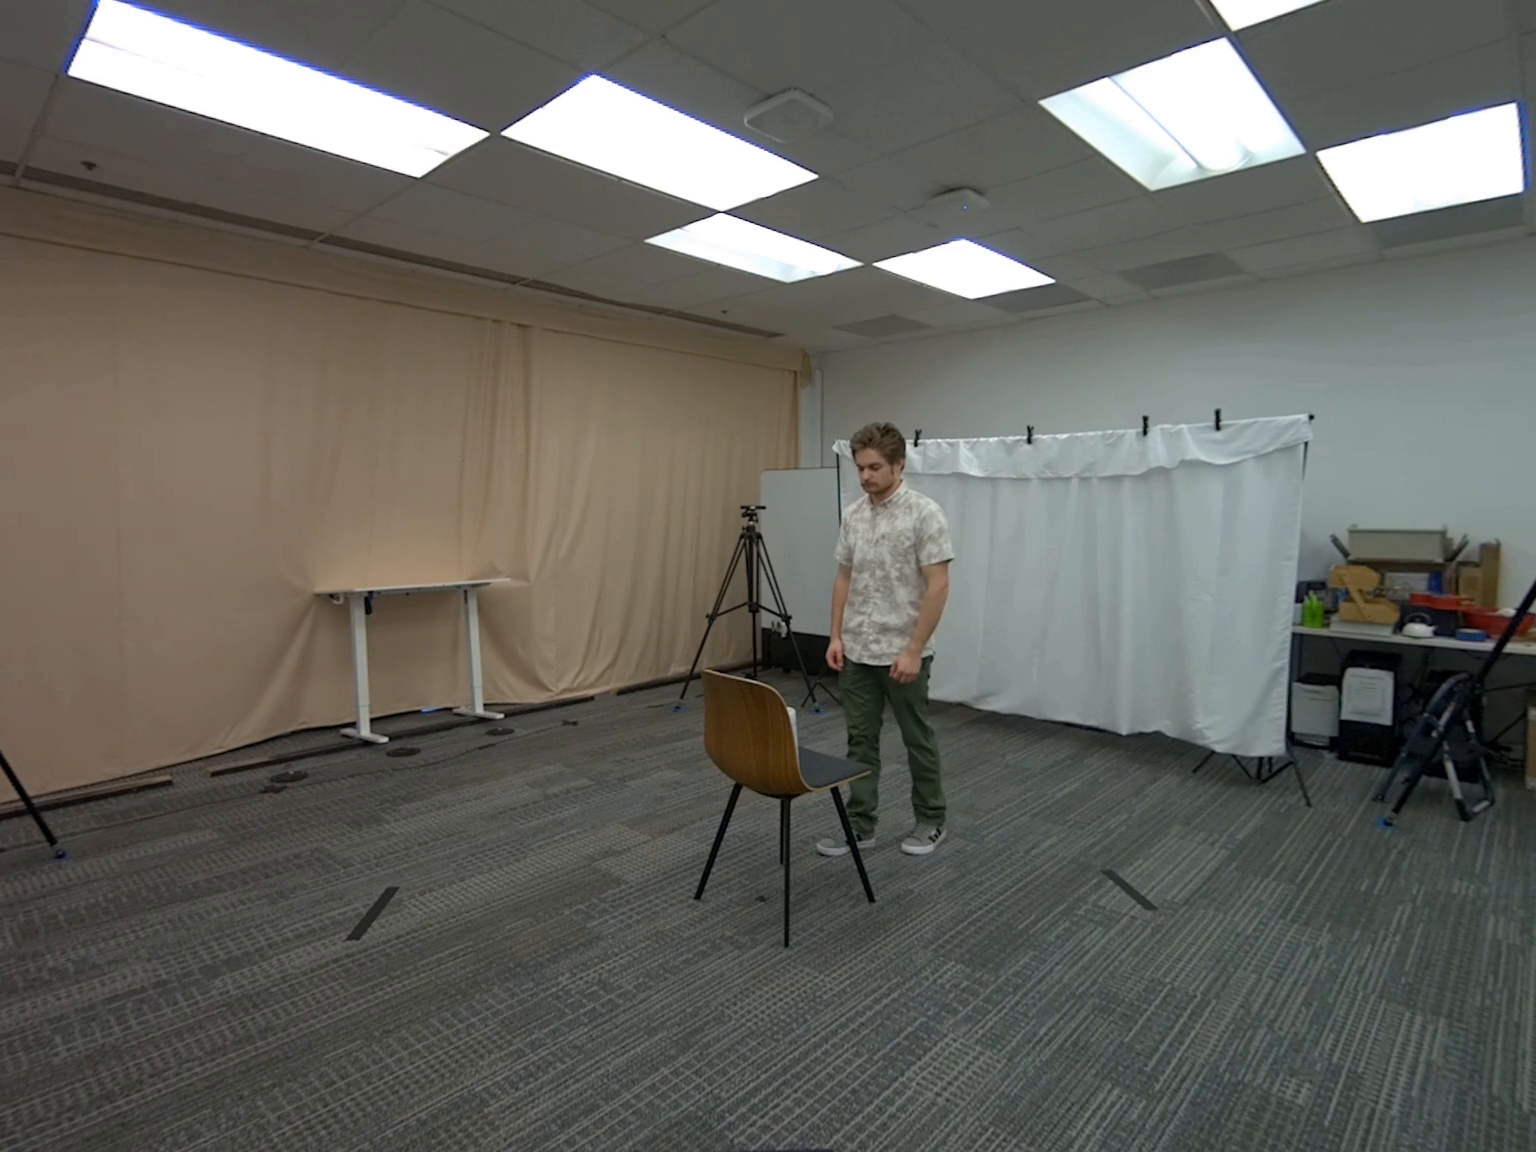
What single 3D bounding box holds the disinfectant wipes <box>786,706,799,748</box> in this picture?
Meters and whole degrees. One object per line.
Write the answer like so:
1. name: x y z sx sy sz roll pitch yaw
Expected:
1. disinfectant wipes: 0.056 0.574 2.898 0.118 0.217 0.118 -4 3 -2
